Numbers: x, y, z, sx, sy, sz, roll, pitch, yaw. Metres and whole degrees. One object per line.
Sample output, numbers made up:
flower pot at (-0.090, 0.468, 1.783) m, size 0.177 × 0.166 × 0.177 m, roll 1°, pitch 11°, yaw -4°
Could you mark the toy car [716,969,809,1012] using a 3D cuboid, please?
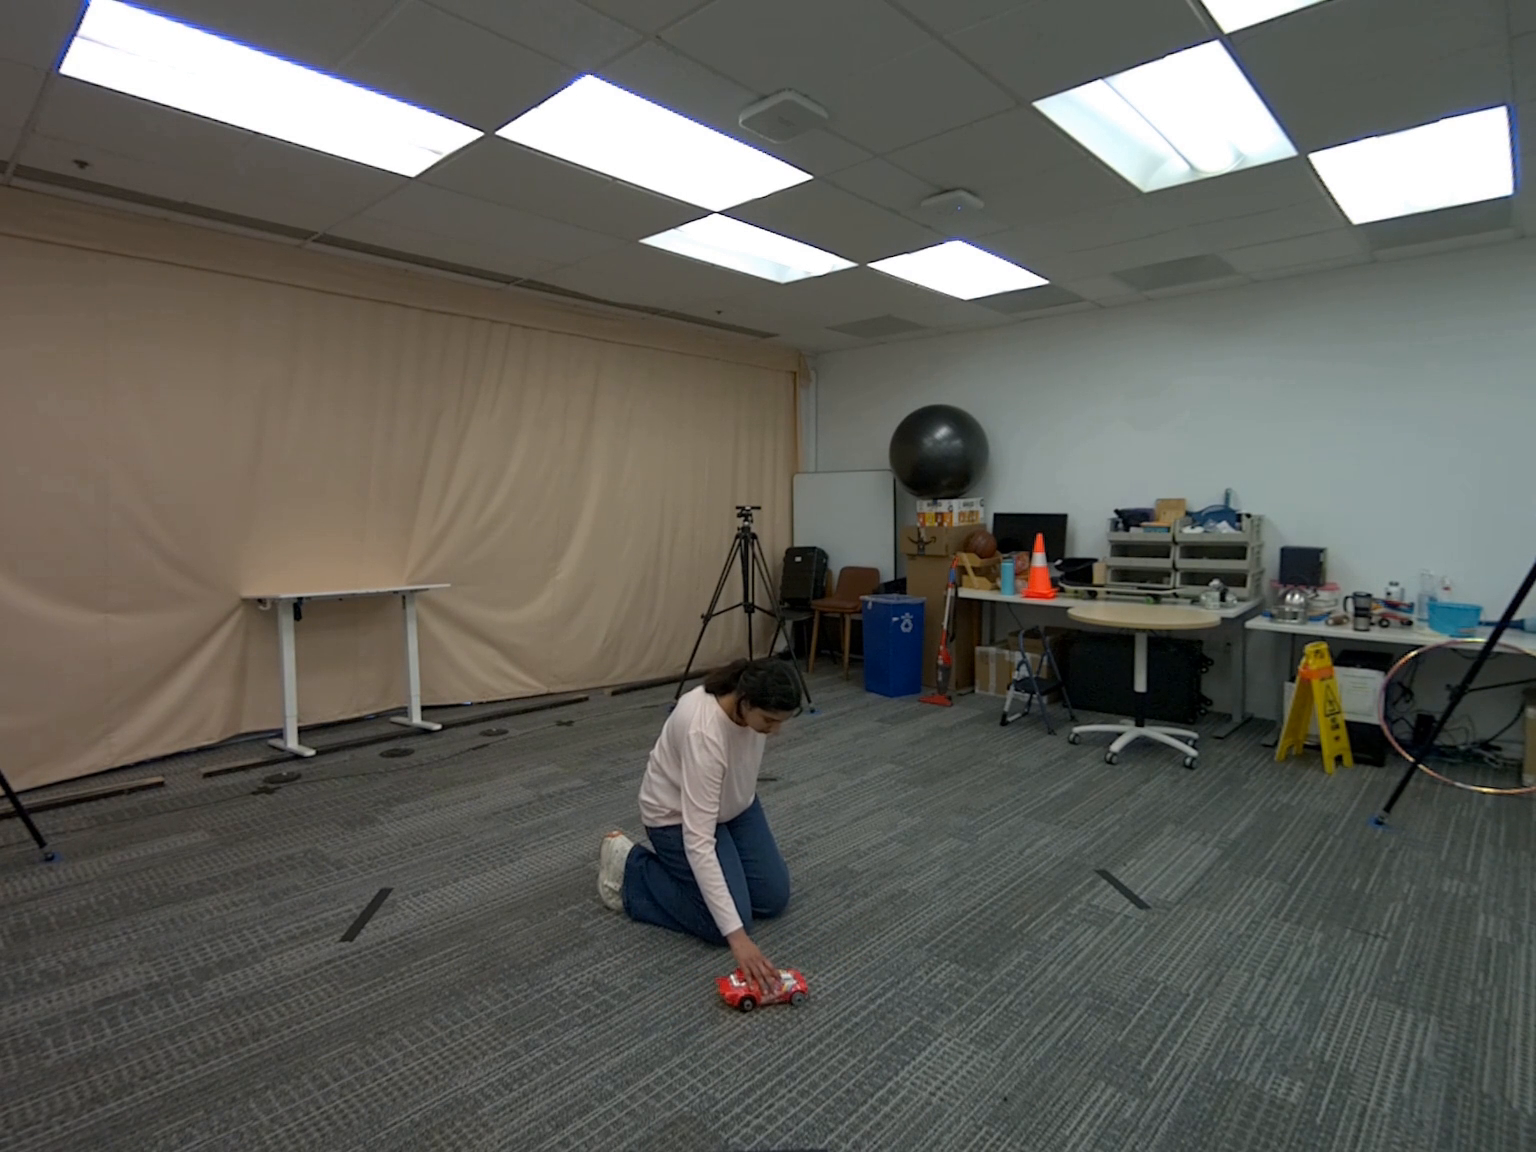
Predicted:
toy car at (-0.023, 1.159, 2.376) m, size 0.251 × 0.083 × 0.132 m, roll 10°, pitch 2°, yaw -13°
